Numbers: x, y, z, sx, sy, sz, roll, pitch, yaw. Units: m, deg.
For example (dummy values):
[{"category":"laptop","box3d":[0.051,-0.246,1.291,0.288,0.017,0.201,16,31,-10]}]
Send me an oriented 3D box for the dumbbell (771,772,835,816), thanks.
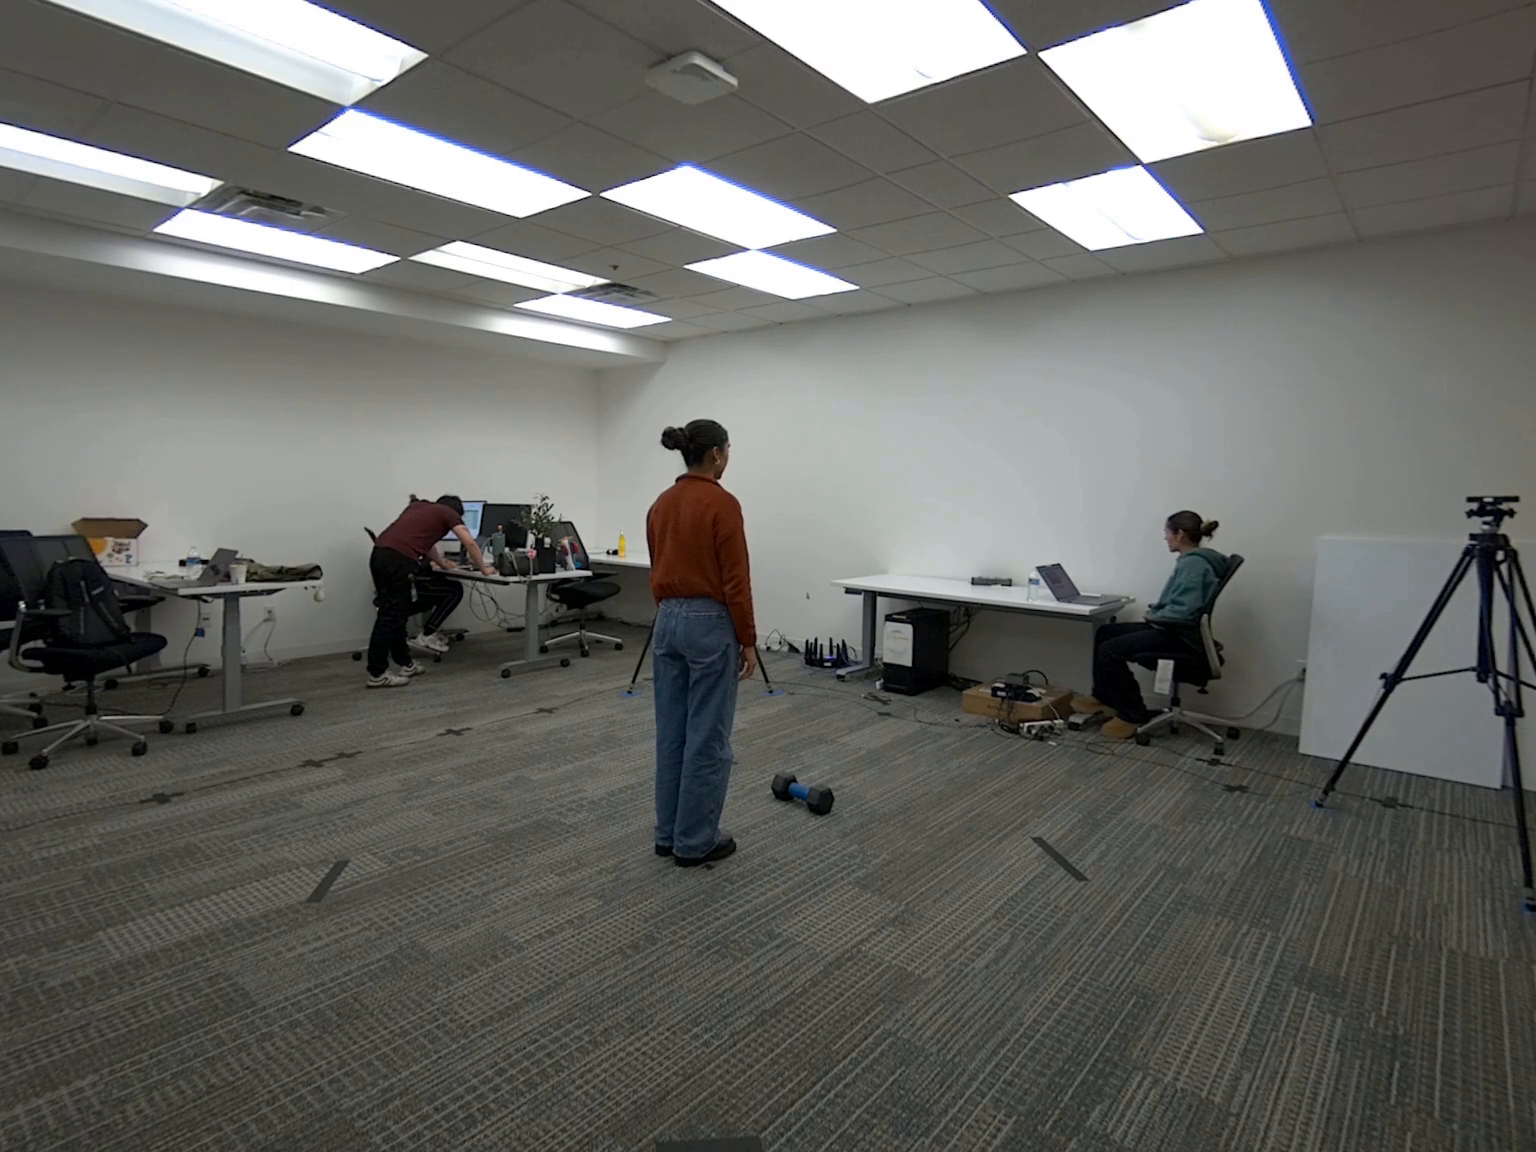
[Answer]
[{"category":"dumbbell","box3d":[0.143,0.953,3.755,0.304,0.124,0.104,7,-22,47]}]
